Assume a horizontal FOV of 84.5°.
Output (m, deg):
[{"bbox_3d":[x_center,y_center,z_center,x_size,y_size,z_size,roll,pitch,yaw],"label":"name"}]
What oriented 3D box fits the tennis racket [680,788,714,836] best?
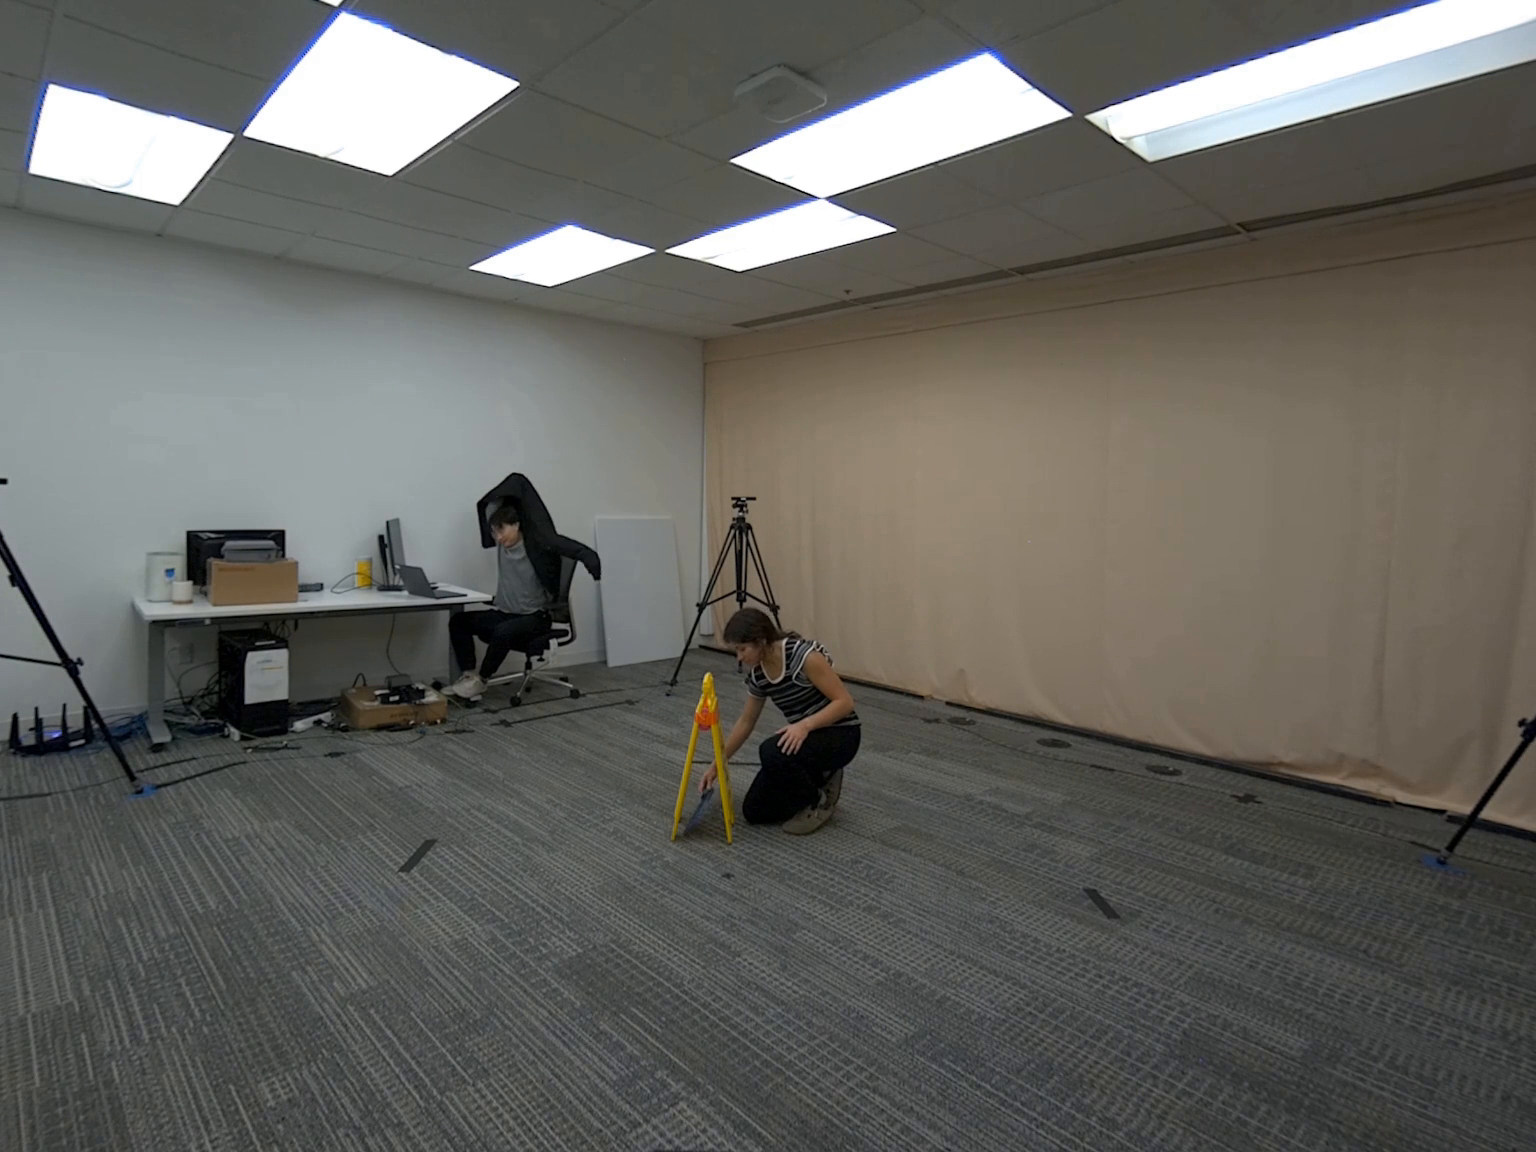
[{"bbox_3d":[-0.288,0.958,3.597,0.032,0.213,0.434,34,17,-2],"label":"tennis racket"}]
